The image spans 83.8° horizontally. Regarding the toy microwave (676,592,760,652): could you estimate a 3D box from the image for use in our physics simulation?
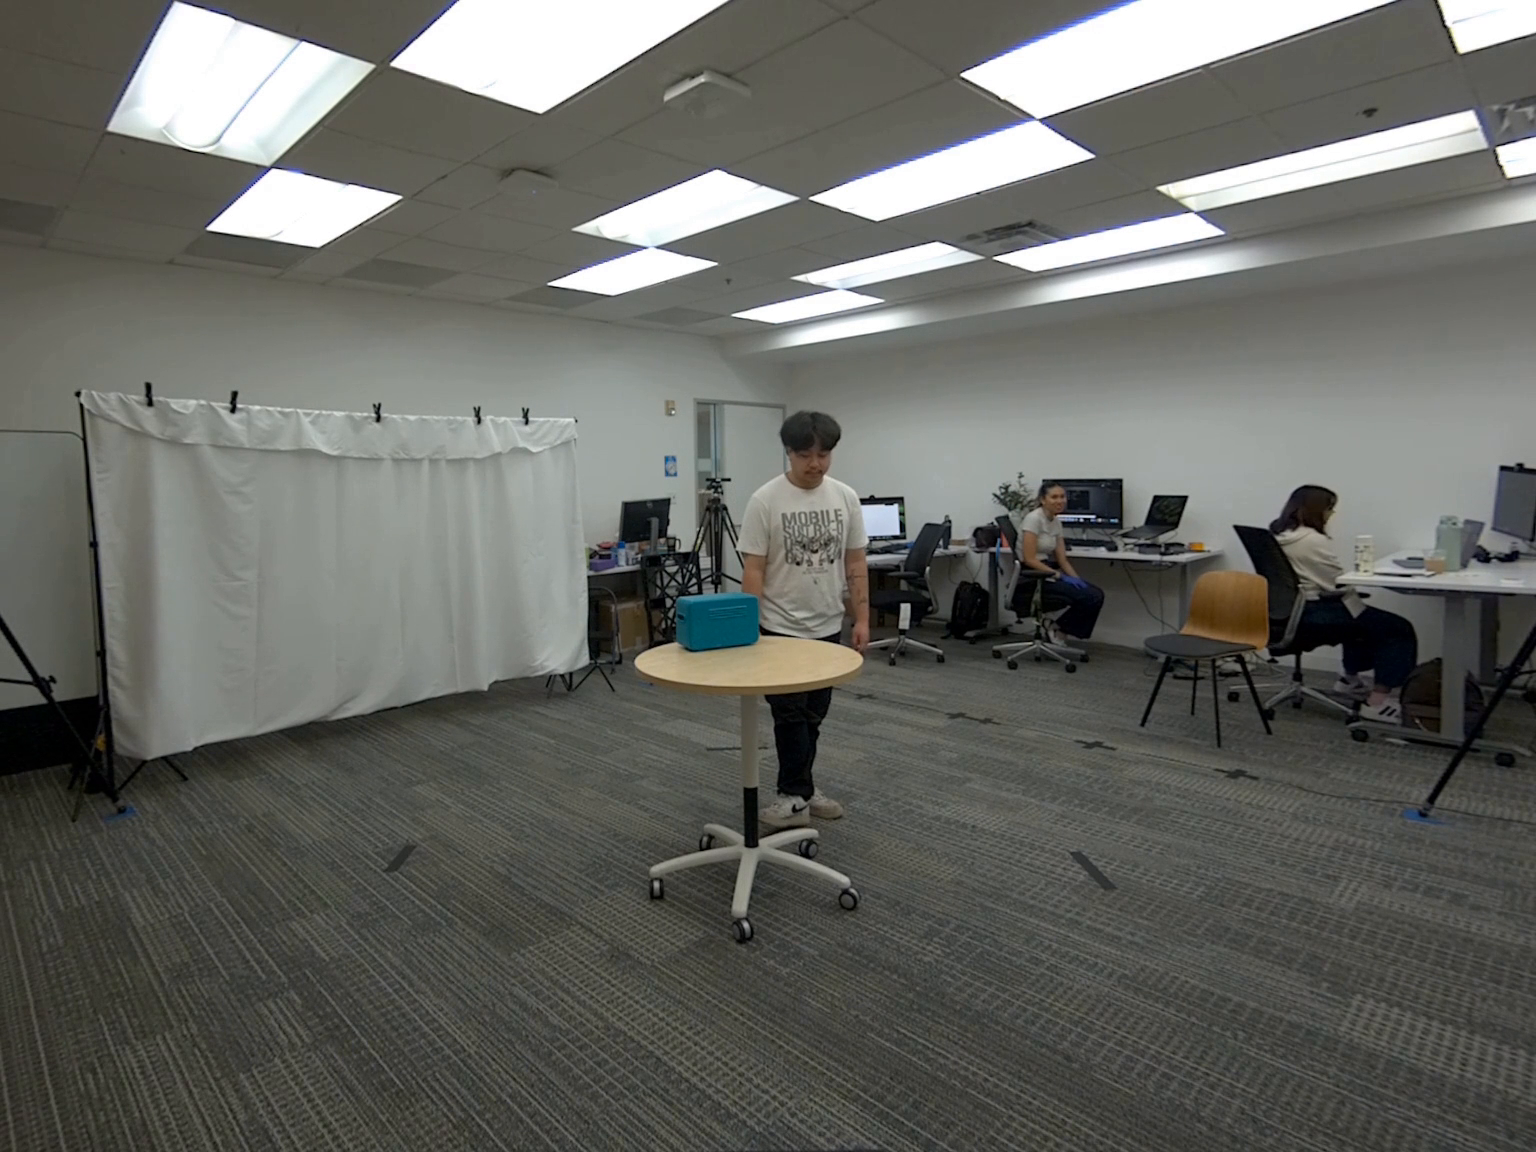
[{"bbox_3d":[-0.185,0.160,3.093,0.280,0.183,0.156,-4,6,-28],"label":"toy microwave"}]
